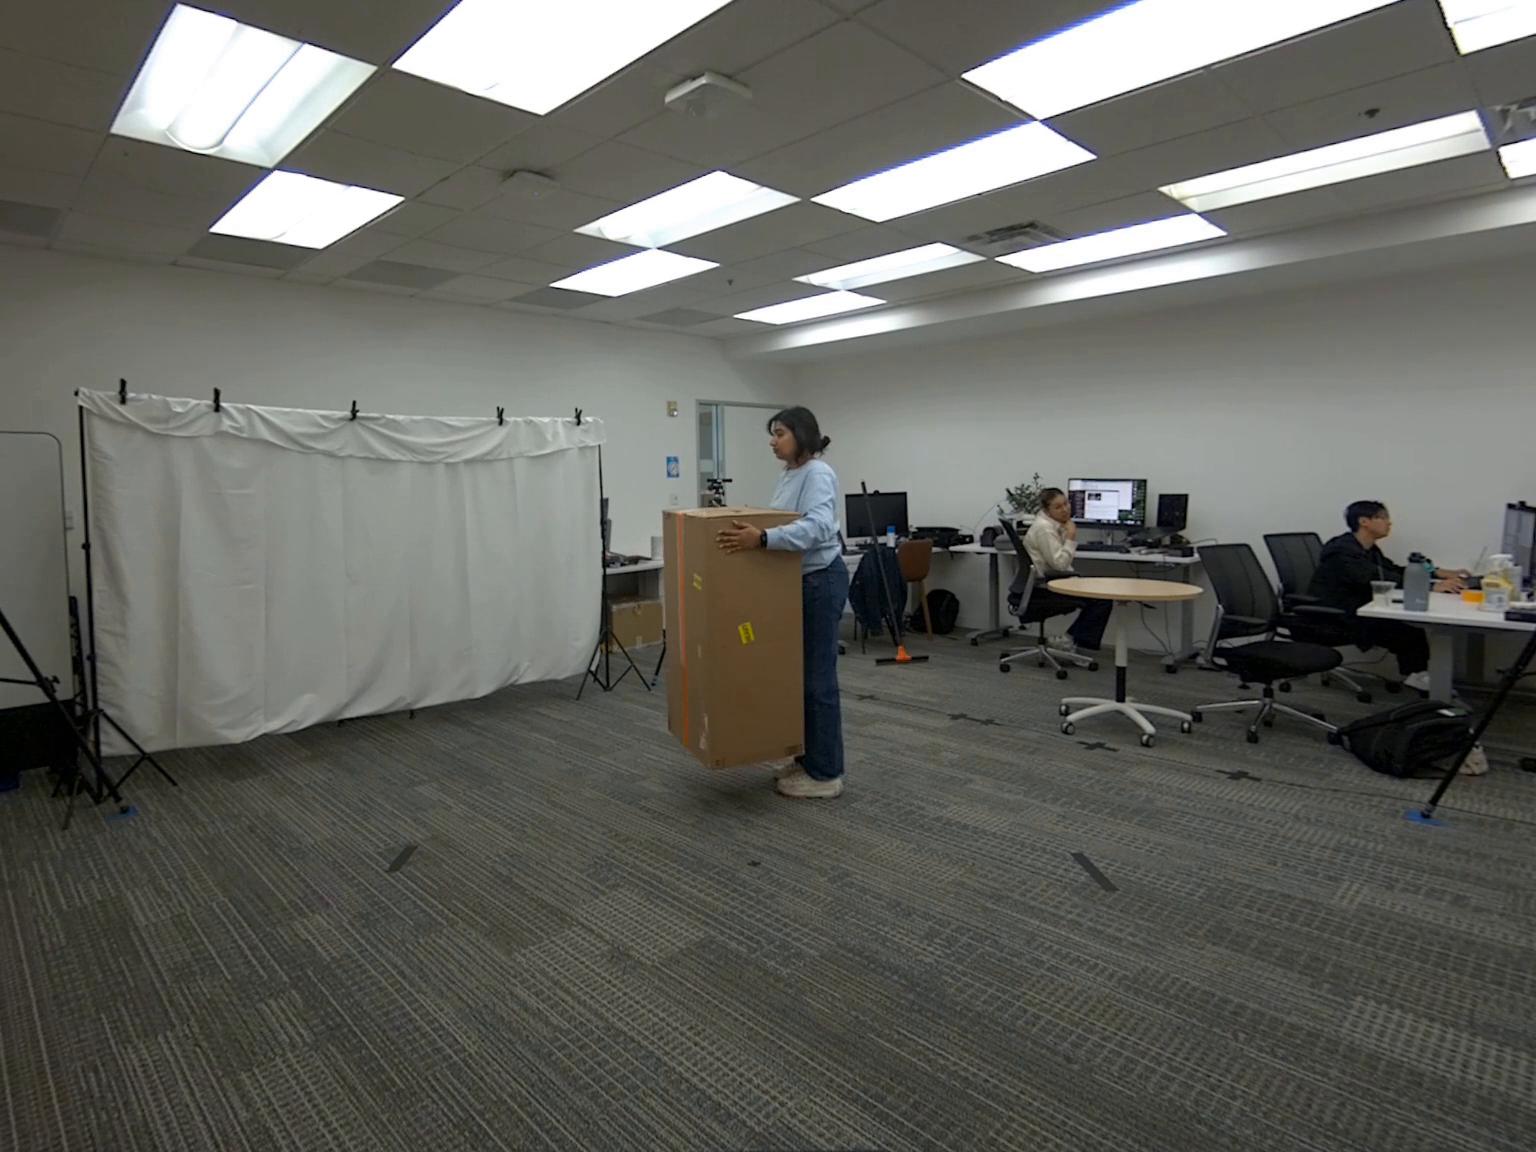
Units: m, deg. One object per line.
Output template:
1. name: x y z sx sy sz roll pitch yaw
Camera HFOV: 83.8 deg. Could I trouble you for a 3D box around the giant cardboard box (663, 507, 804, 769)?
1. giant cardboard box: -0.175 0.235 3.720 0.418 1.020 0.592 -3 6 -23
